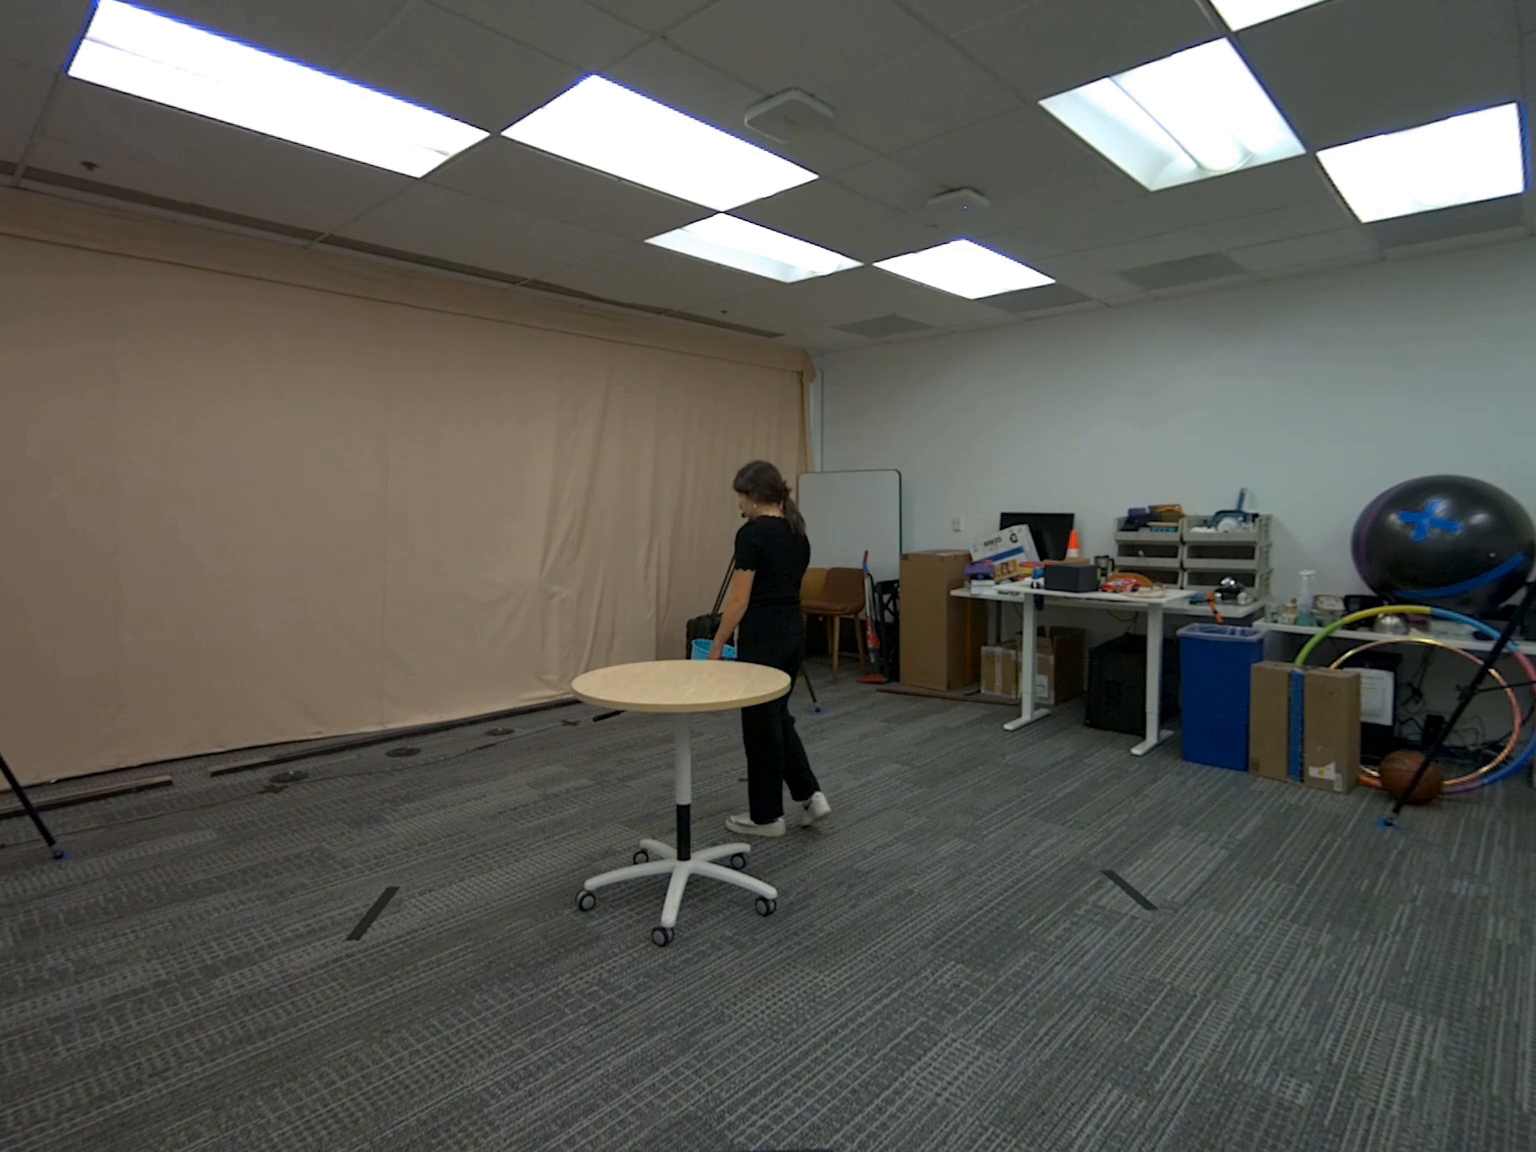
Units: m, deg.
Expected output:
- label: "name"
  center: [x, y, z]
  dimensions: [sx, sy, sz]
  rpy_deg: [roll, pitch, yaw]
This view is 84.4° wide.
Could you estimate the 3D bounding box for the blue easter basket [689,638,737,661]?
- label: "blue easter basket"
  center: [-0.204, 0.399, 3.721]
  dimensions: [0.243, 0.155, 0.245]
  rpy_deg: [12, 8, -3]
